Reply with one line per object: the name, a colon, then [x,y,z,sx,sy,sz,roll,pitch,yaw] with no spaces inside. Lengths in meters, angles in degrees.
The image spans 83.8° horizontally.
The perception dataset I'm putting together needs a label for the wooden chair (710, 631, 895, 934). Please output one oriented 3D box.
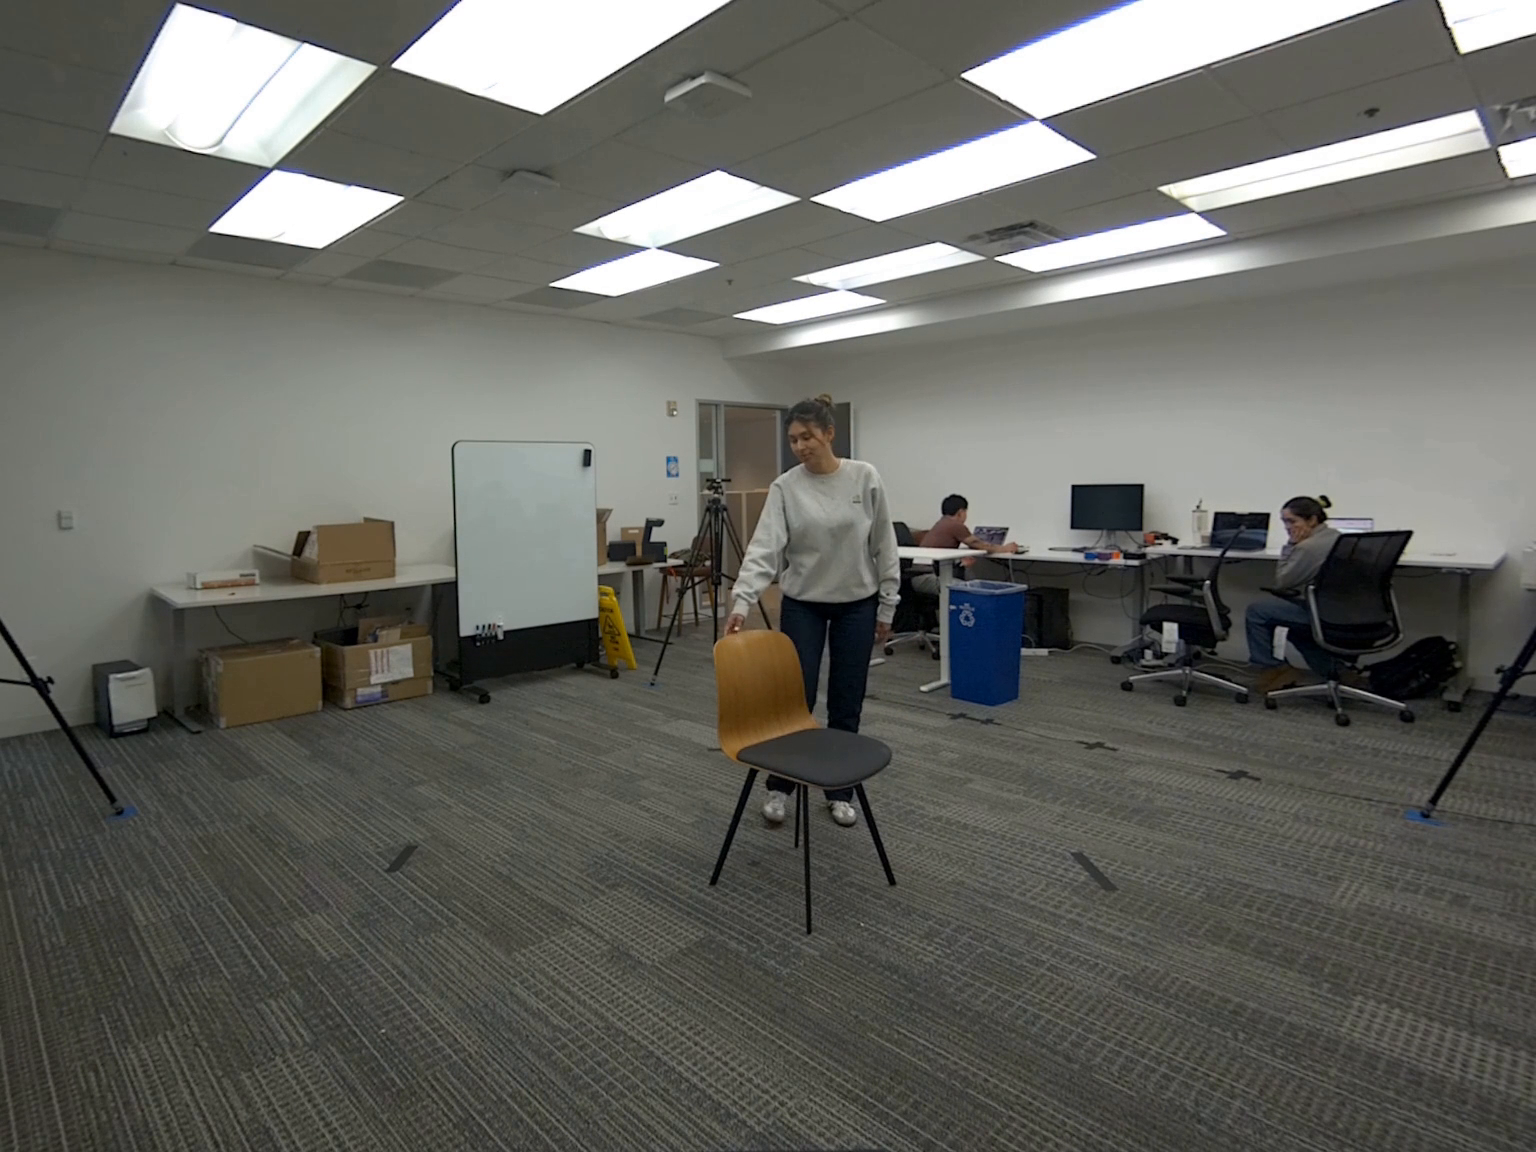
wooden chair: [0.114,0.639,2.891,0.465,0.877,0.537,-4,0,-44]
